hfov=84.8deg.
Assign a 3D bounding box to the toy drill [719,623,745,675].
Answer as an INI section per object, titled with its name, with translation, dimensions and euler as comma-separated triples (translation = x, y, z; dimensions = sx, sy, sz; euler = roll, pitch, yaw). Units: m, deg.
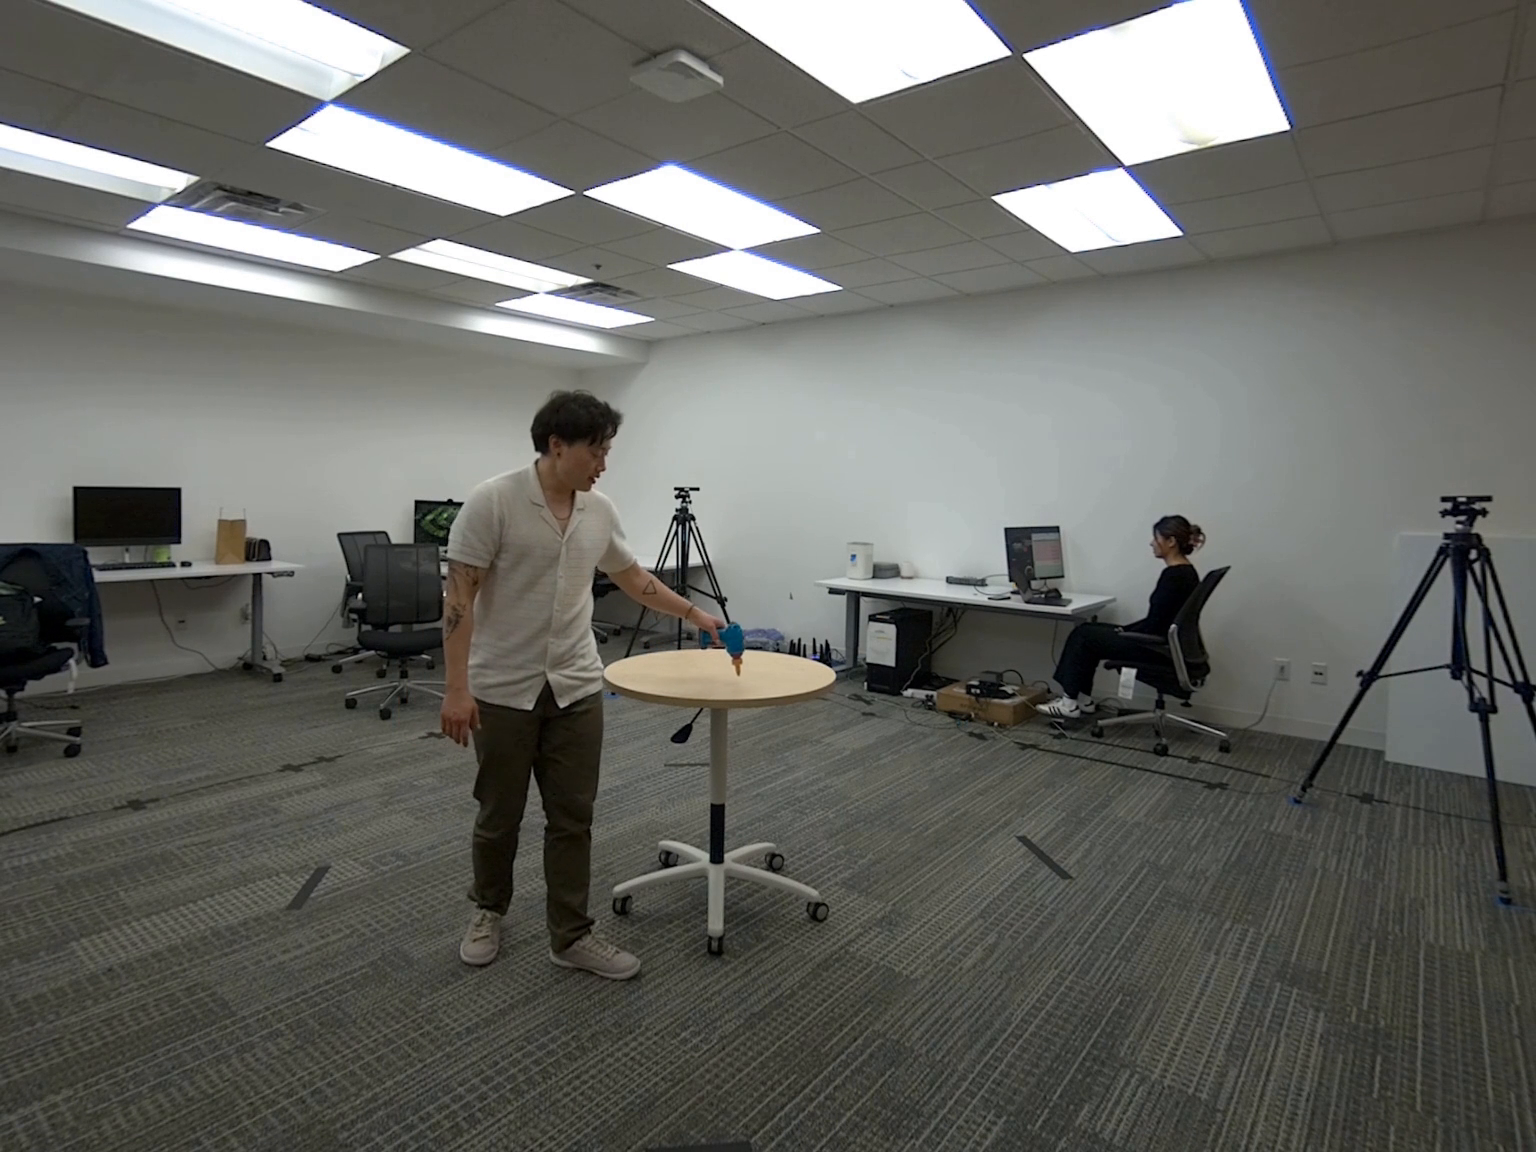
[toy drill]
translation = -0.141, 0.228, 2.636
dimensions = 0.148, 0.170, 0.060
euler = -7, 1, 19
